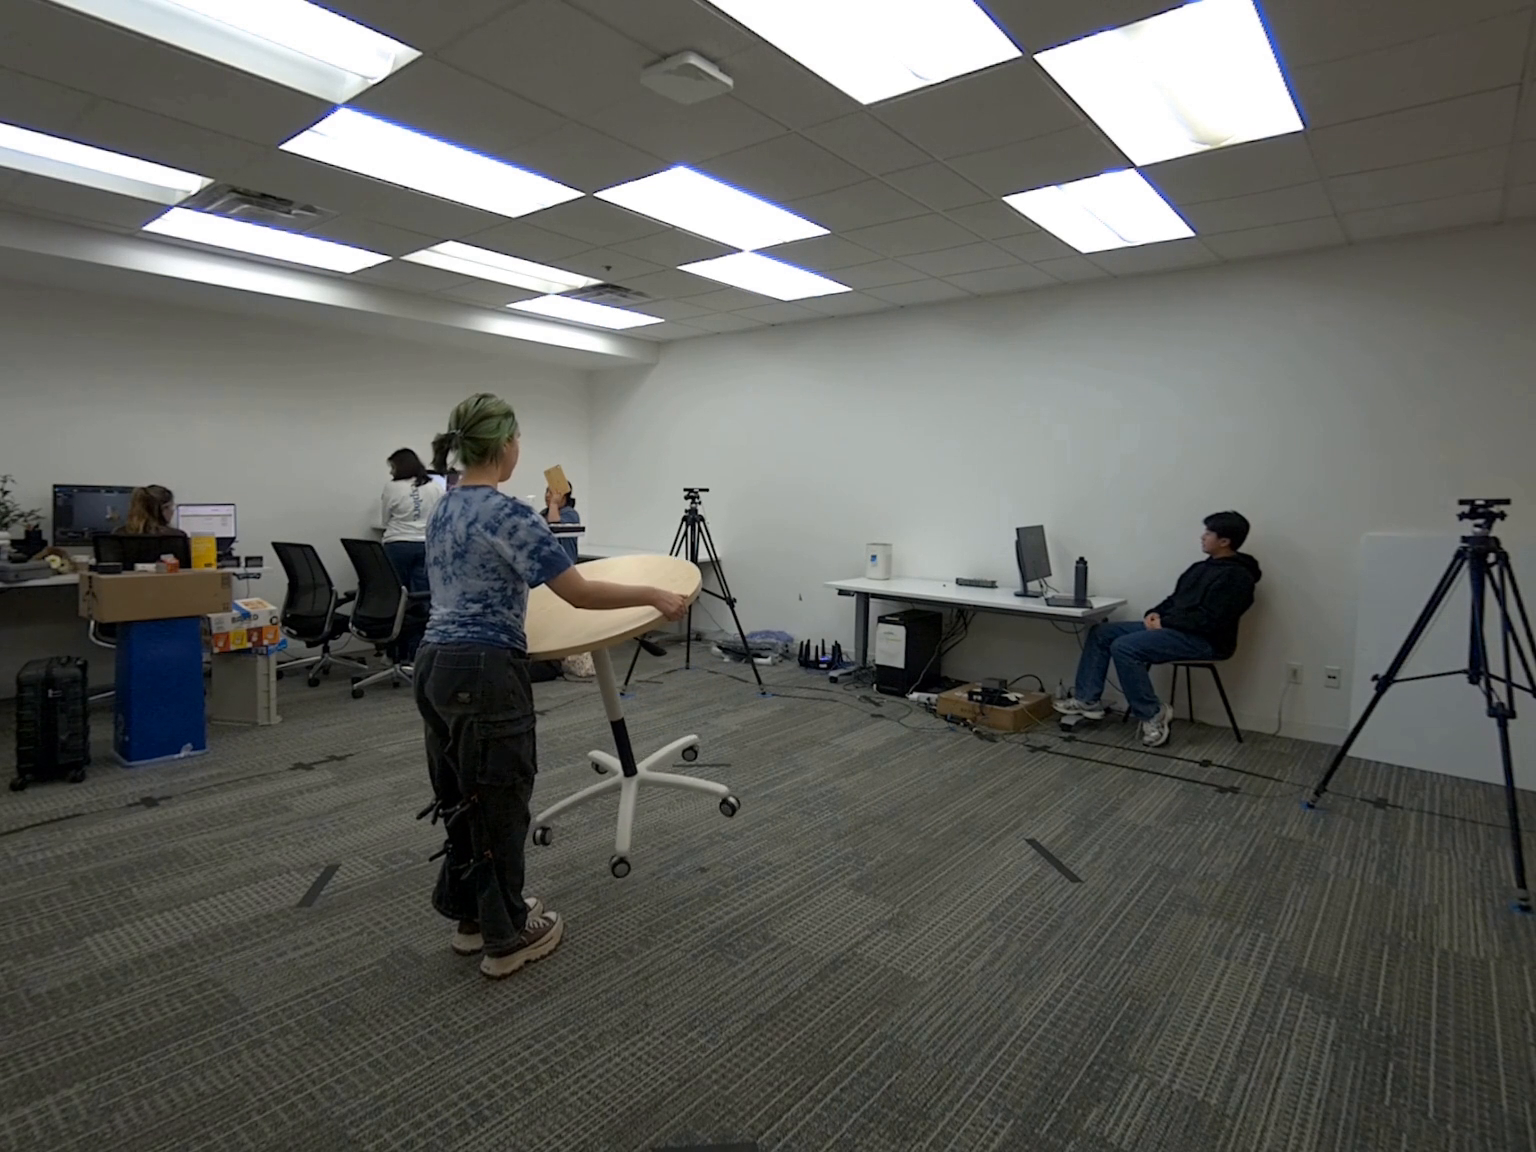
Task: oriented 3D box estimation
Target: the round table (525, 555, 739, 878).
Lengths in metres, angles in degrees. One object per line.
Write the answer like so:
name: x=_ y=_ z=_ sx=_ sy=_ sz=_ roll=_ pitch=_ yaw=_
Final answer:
round table: x=-0.534 y=0.451 z=2.874 sx=0.766 sy=0.778 sz=0.778 roll=-11 pitch=19 yaw=2
